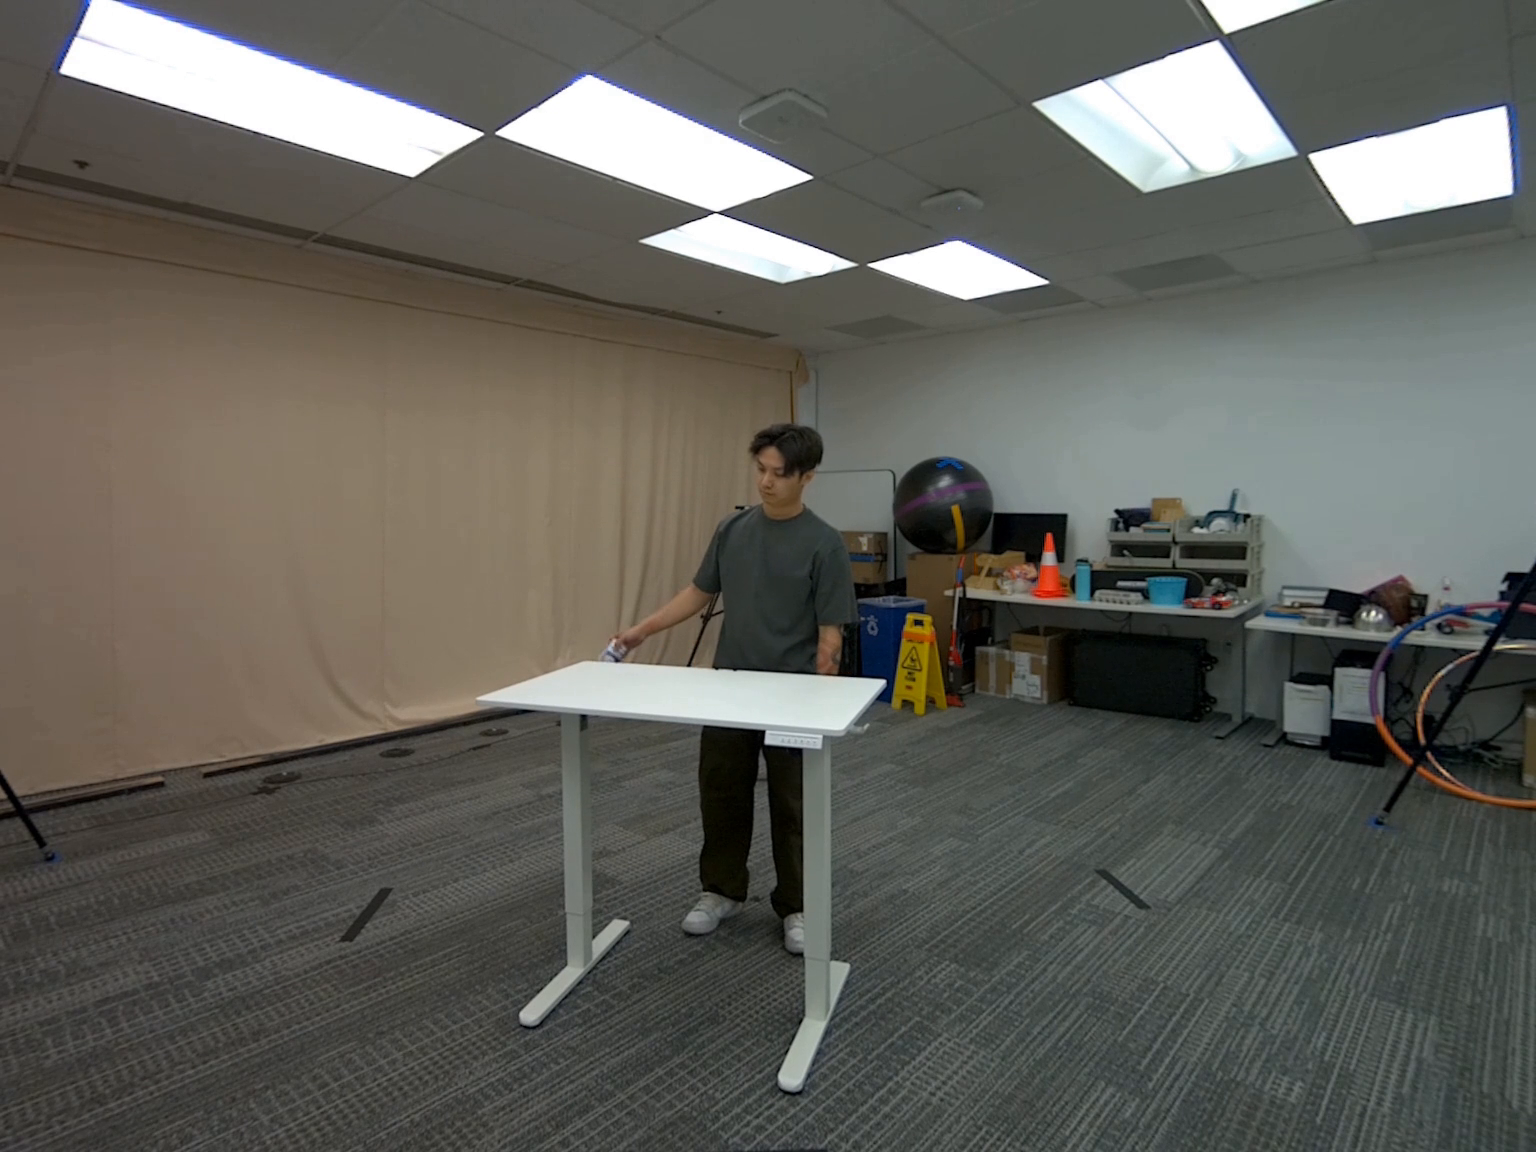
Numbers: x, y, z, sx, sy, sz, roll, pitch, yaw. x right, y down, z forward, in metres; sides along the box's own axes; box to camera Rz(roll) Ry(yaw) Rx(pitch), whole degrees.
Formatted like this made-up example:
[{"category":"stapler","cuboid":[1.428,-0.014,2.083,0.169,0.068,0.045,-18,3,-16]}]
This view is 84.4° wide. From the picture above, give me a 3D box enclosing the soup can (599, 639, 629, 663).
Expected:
[{"category":"soup can","cuboid":[-0.511,0.294,2.911,0.067,0.122,0.066,23,-15,5]}]
